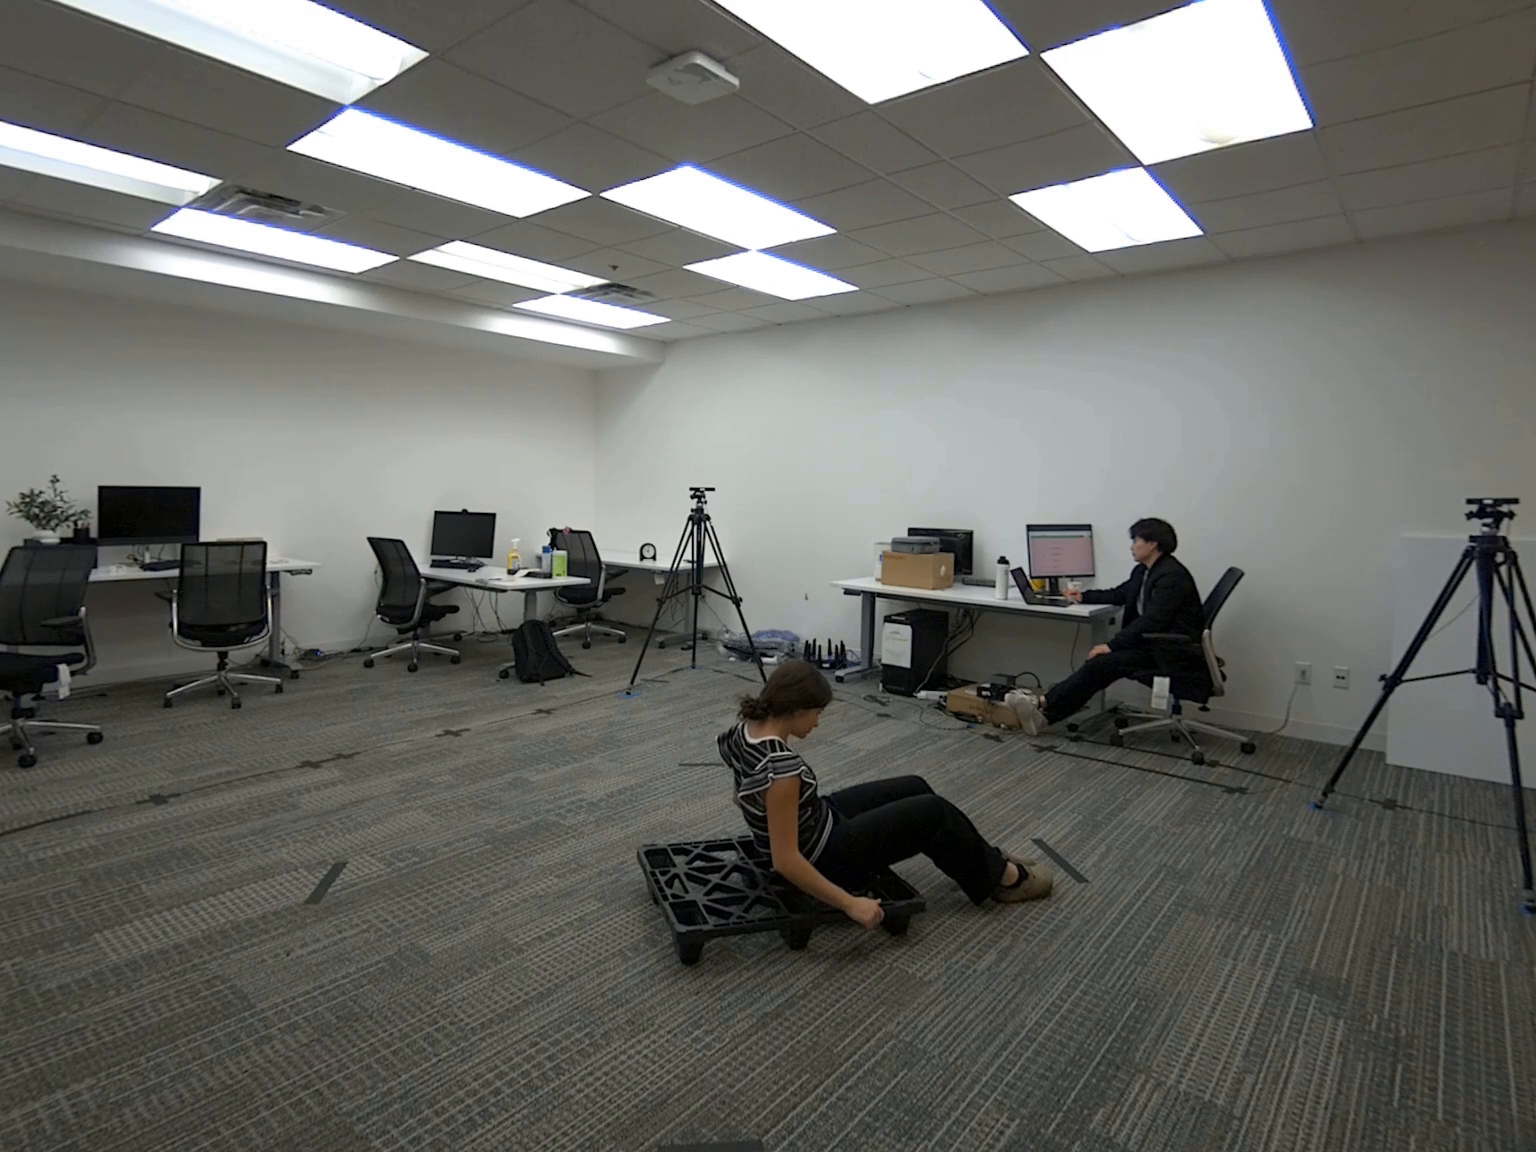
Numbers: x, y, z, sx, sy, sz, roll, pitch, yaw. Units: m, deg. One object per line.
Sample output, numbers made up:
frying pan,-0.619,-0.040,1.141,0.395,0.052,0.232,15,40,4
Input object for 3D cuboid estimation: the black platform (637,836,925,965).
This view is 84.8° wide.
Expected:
black platform,0.009,1.033,2.798,0.791,0.143,0.619,0,6,-18
